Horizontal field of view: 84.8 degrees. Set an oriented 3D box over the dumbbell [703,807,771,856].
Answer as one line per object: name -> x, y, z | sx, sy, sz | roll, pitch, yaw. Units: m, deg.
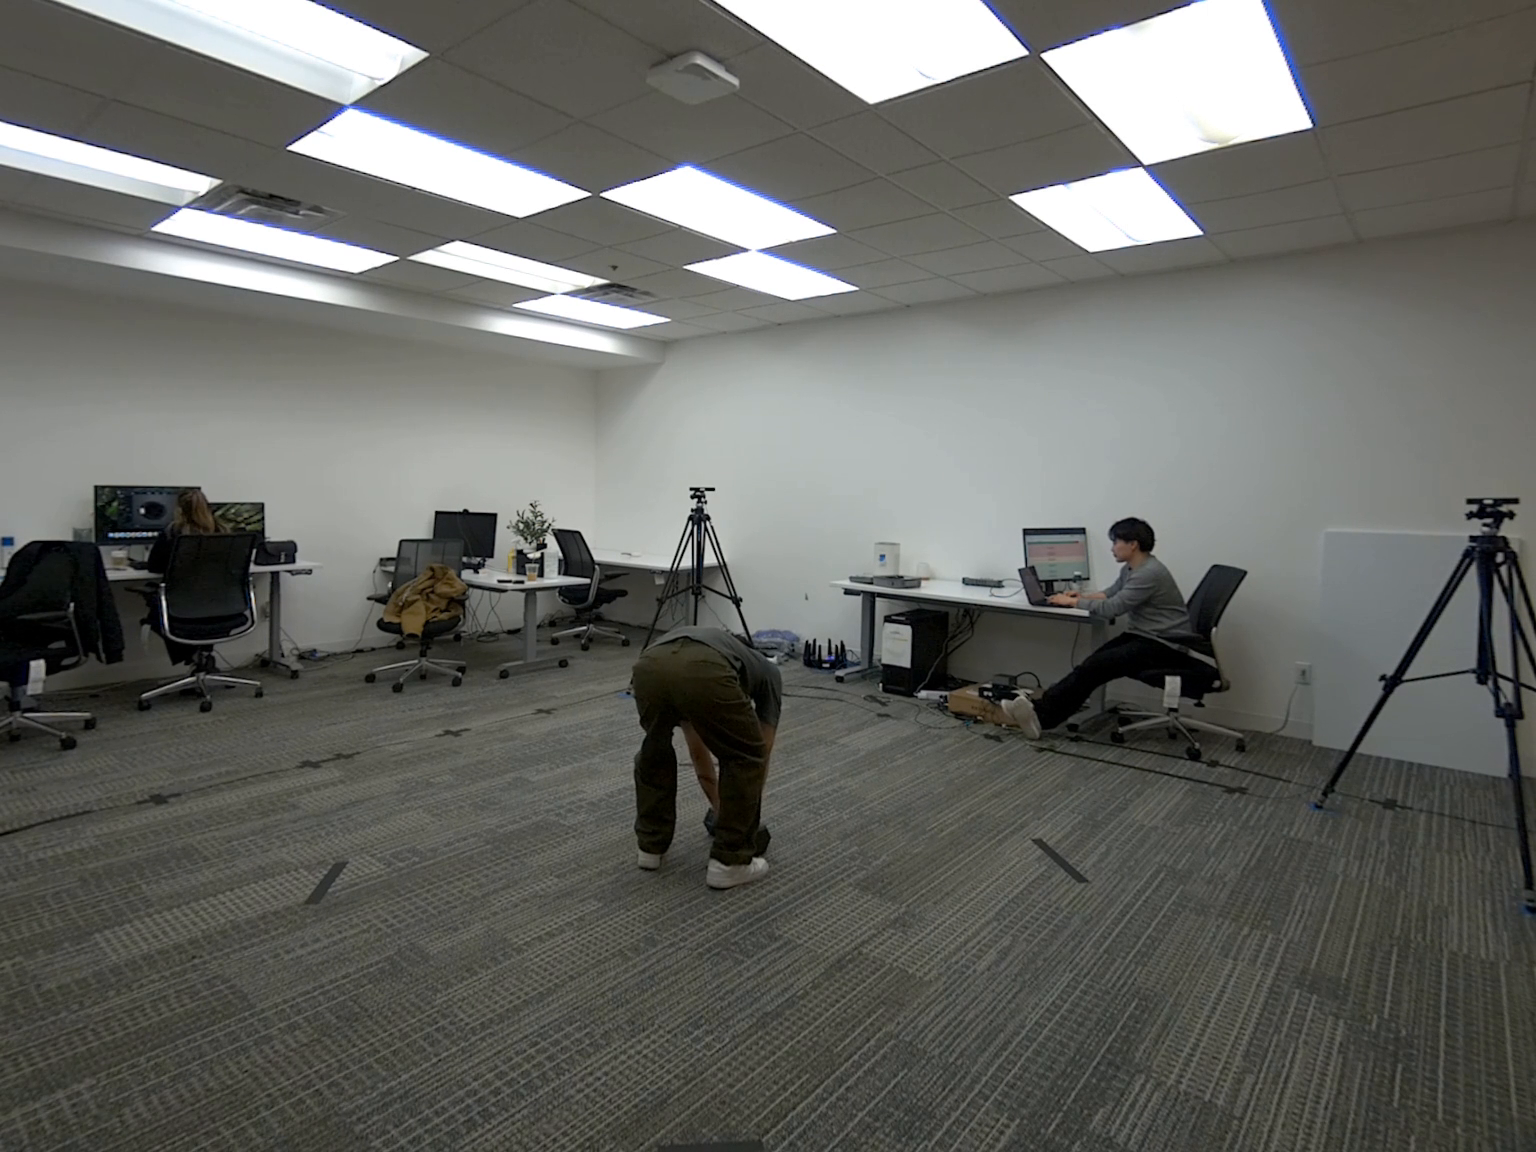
dumbbell -> -0.132, 0.988, 3.335 | 0.303, 0.124, 0.104 | 7, -25, 50
